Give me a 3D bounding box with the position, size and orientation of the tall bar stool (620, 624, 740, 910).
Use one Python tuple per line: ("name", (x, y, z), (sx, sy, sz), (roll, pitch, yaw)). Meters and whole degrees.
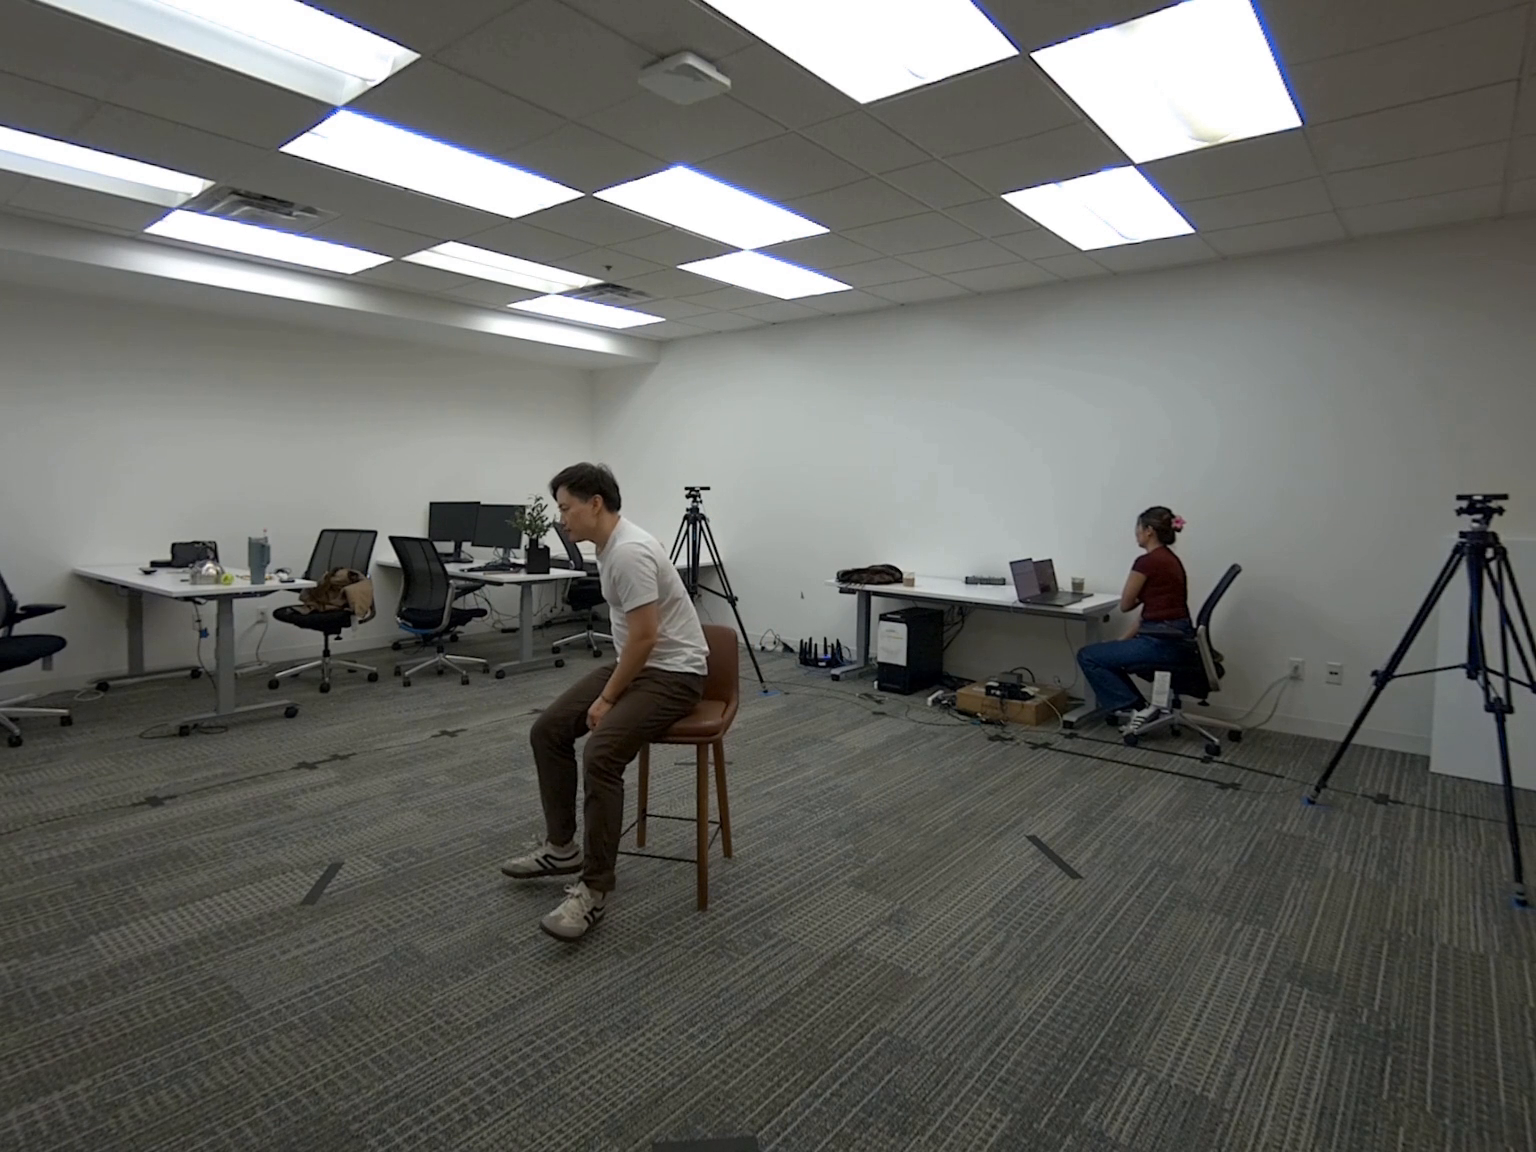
("tall bar stool", (-0.358, 0.638, 3.041), (0.464, 0.889, 0.461), (2, 1, 14))
